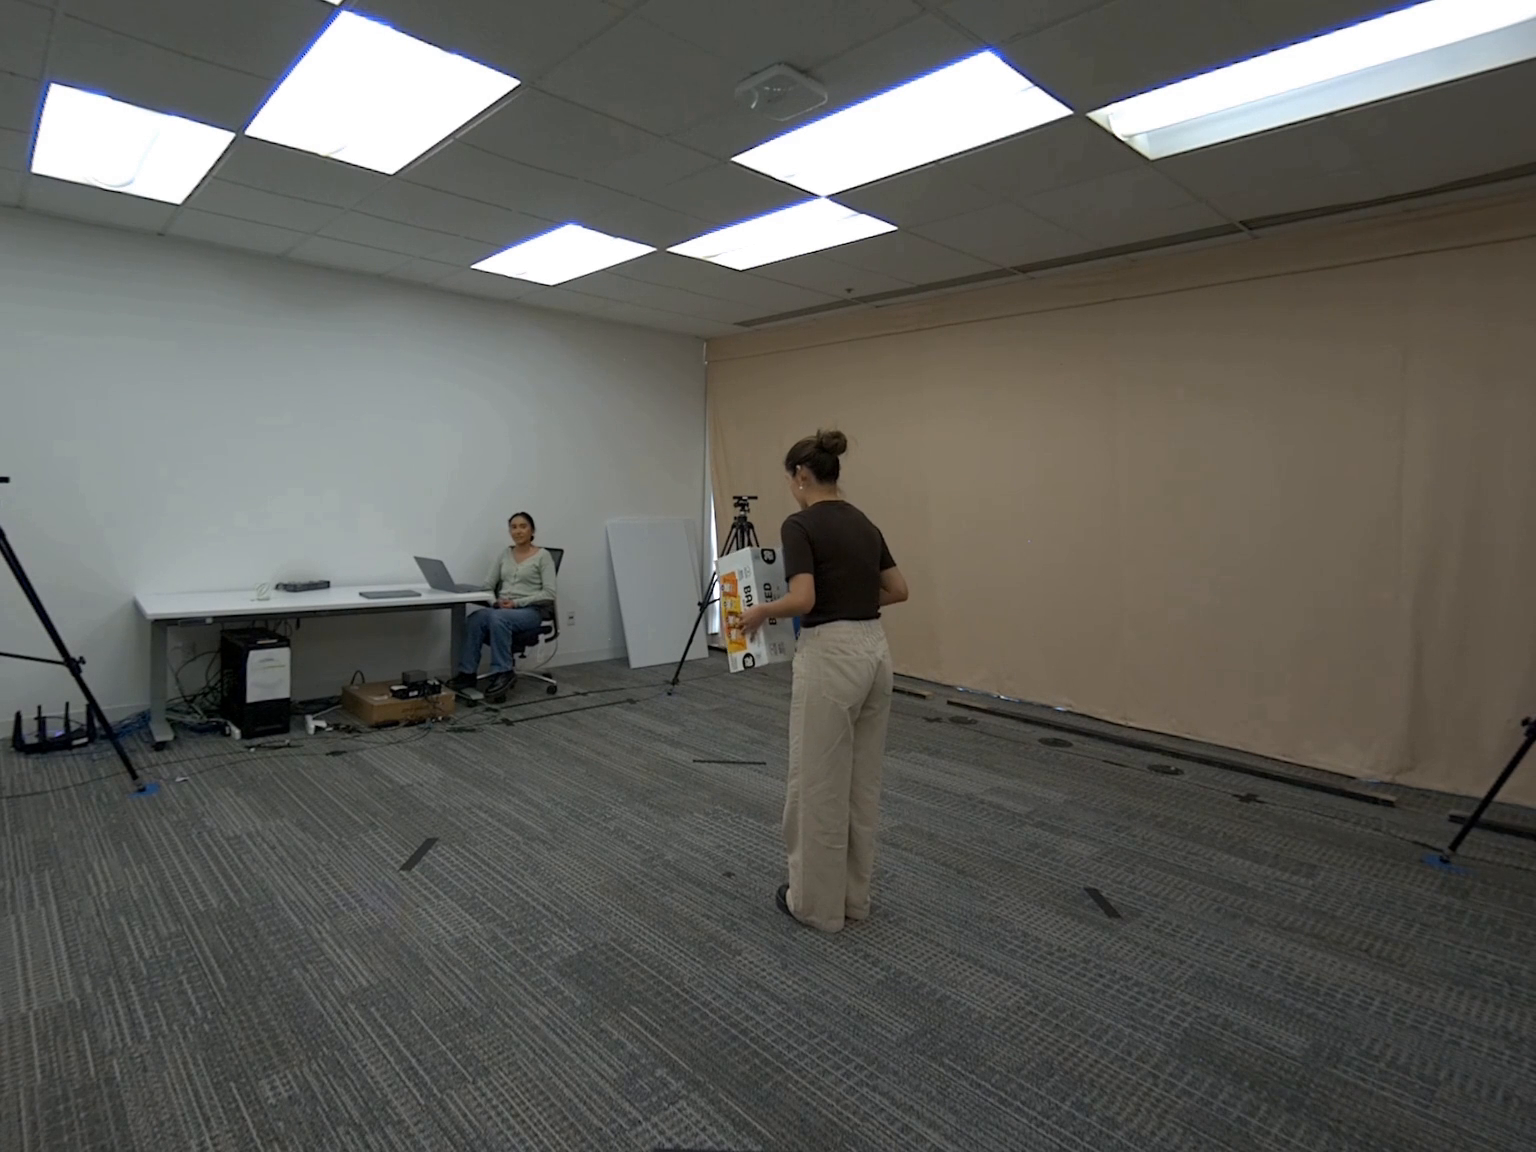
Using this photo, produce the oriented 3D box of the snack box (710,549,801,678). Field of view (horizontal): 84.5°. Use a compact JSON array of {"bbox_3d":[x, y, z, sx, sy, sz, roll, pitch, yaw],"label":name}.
[{"bbox_3d":[0.018,0.129,3.011,0.332,0.410,0.208,2,-17,-42],"label":"snack box"}]
